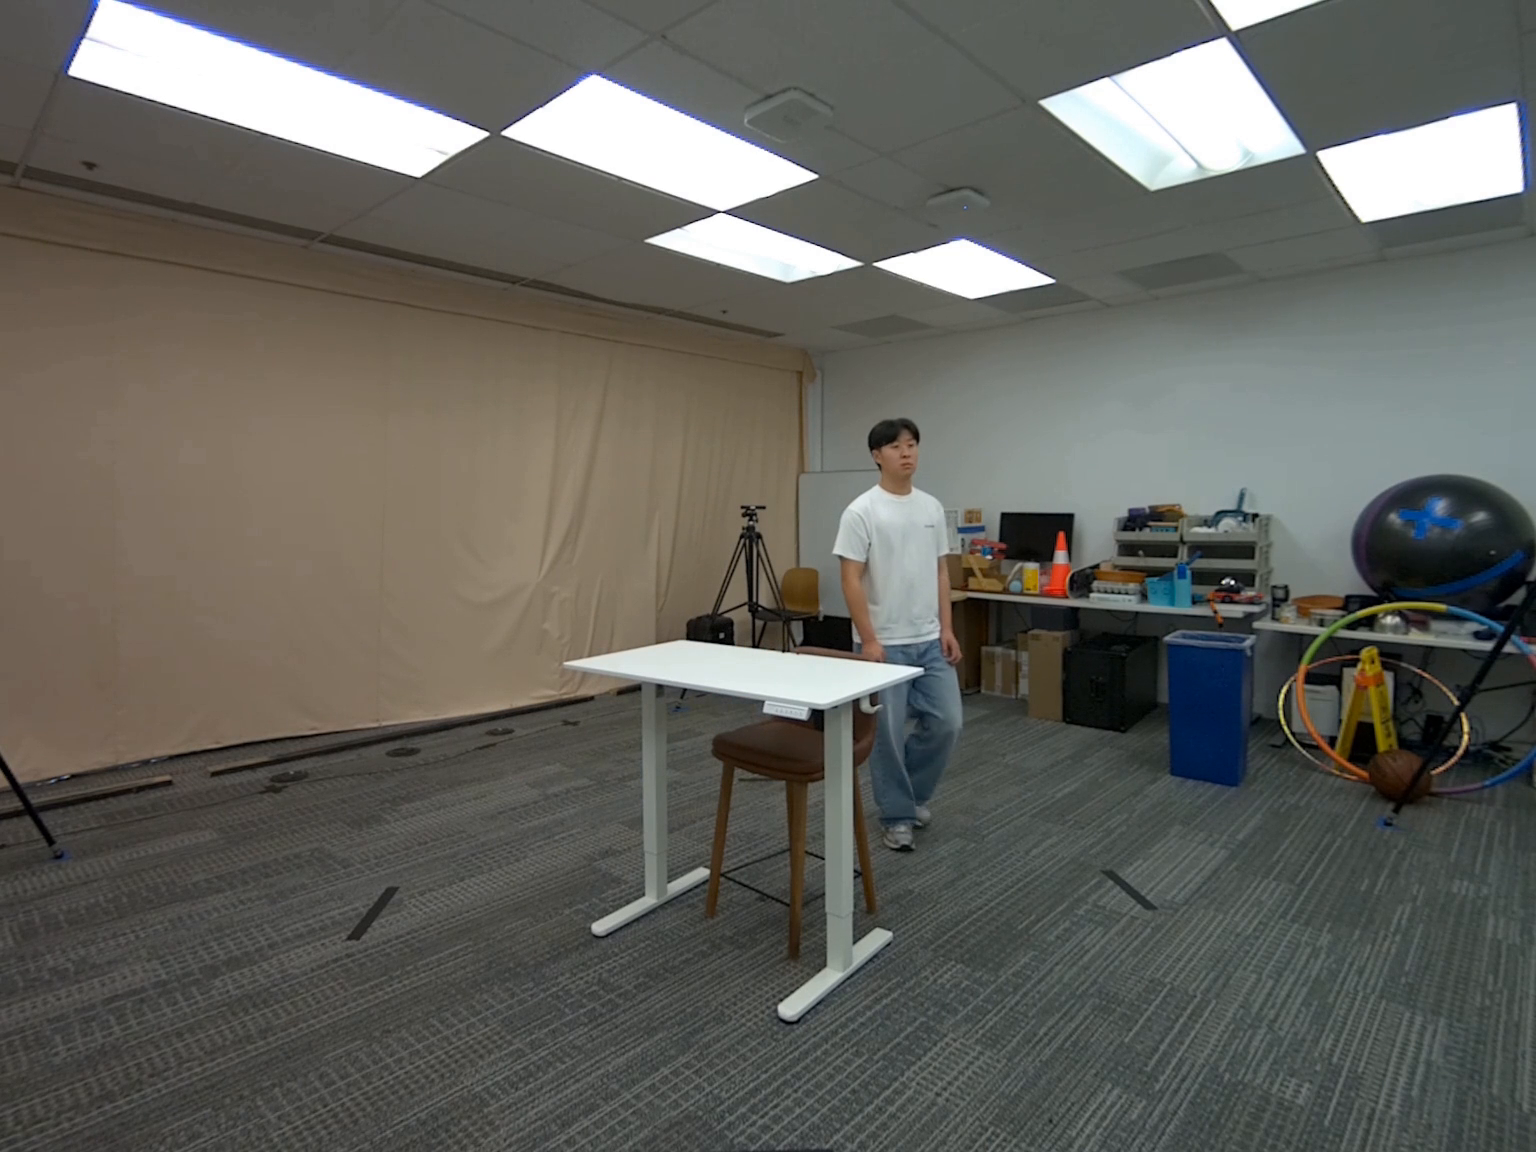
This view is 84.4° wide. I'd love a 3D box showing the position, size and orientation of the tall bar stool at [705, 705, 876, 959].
[{"bbox_3d":[0.100,0.719,2.850,0.453,0.889,0.472,0,2,-45],"label":"tall bar stool"}]
